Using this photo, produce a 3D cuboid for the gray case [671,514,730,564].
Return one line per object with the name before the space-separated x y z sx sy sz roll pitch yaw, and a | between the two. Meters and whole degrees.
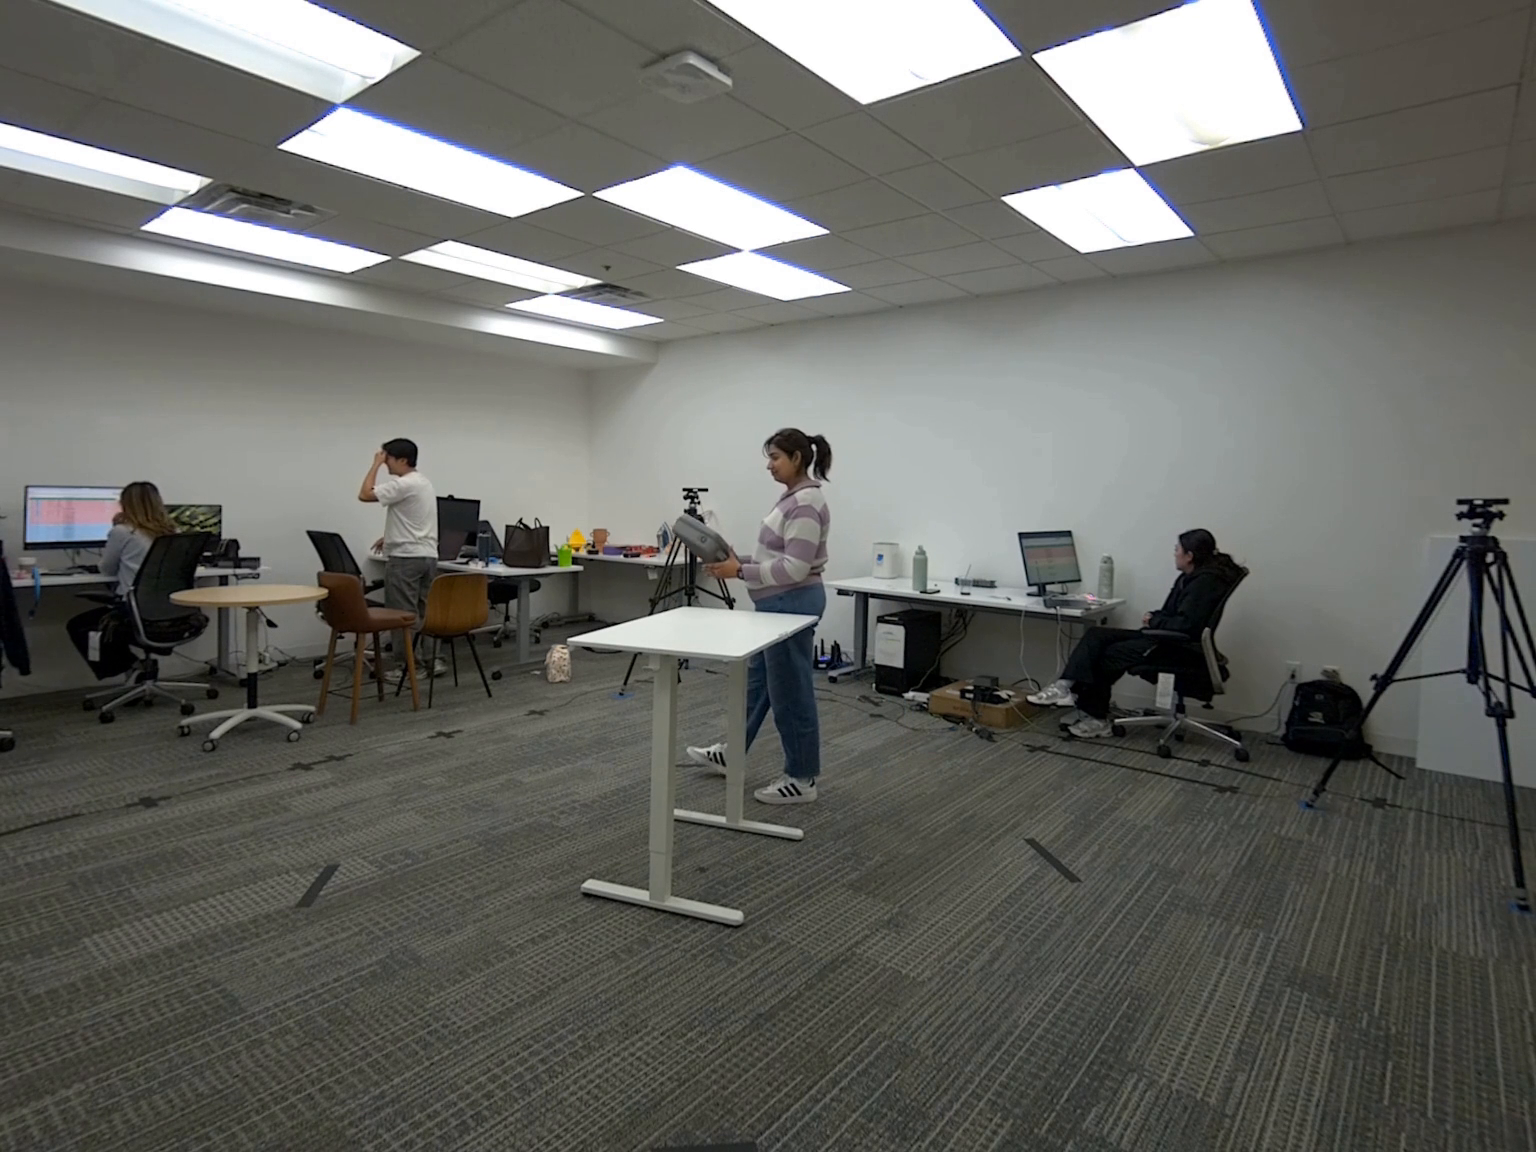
gray case | -0.300 -0.148 3.856 0.271 0.104 0.247 31 -12 32
